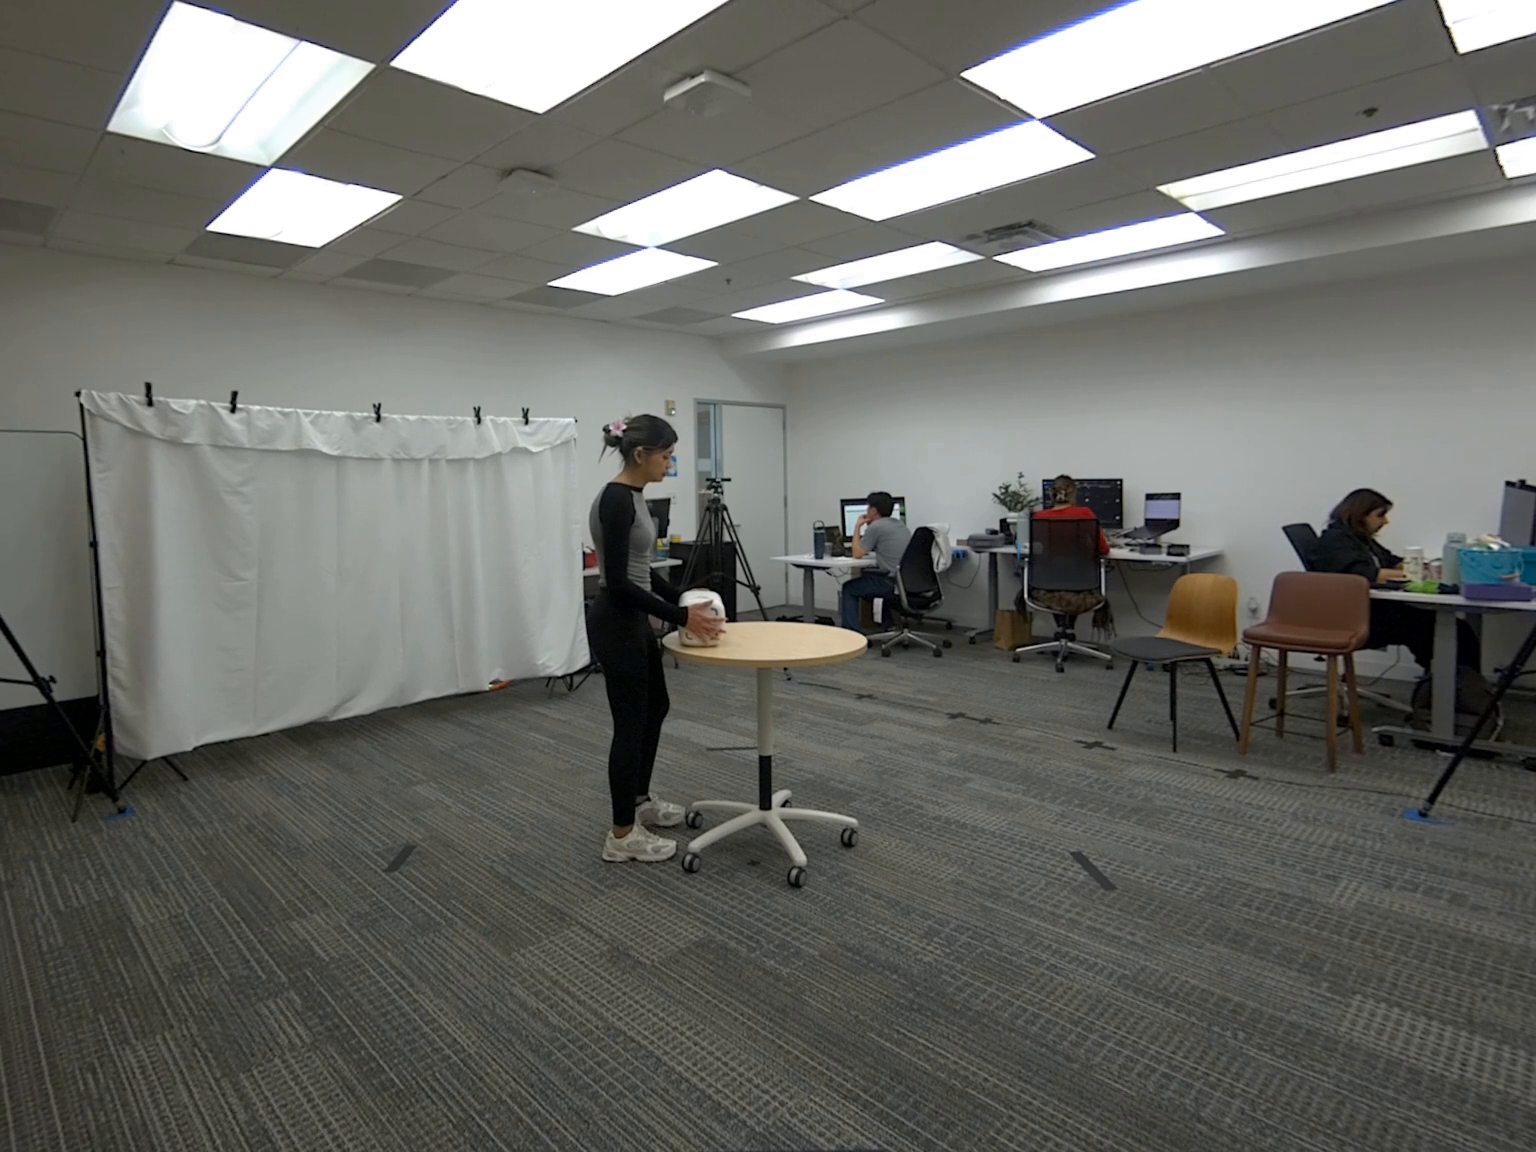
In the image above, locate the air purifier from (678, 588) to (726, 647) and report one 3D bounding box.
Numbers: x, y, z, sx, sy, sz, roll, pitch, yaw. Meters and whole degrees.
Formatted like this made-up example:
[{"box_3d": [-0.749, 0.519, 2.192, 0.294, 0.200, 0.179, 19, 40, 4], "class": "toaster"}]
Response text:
[{"box_3d": [-0.249, 0.156, 3.182, 0.171, 0.171, 0.267, 0, 6, -3], "class": "air purifier"}]
